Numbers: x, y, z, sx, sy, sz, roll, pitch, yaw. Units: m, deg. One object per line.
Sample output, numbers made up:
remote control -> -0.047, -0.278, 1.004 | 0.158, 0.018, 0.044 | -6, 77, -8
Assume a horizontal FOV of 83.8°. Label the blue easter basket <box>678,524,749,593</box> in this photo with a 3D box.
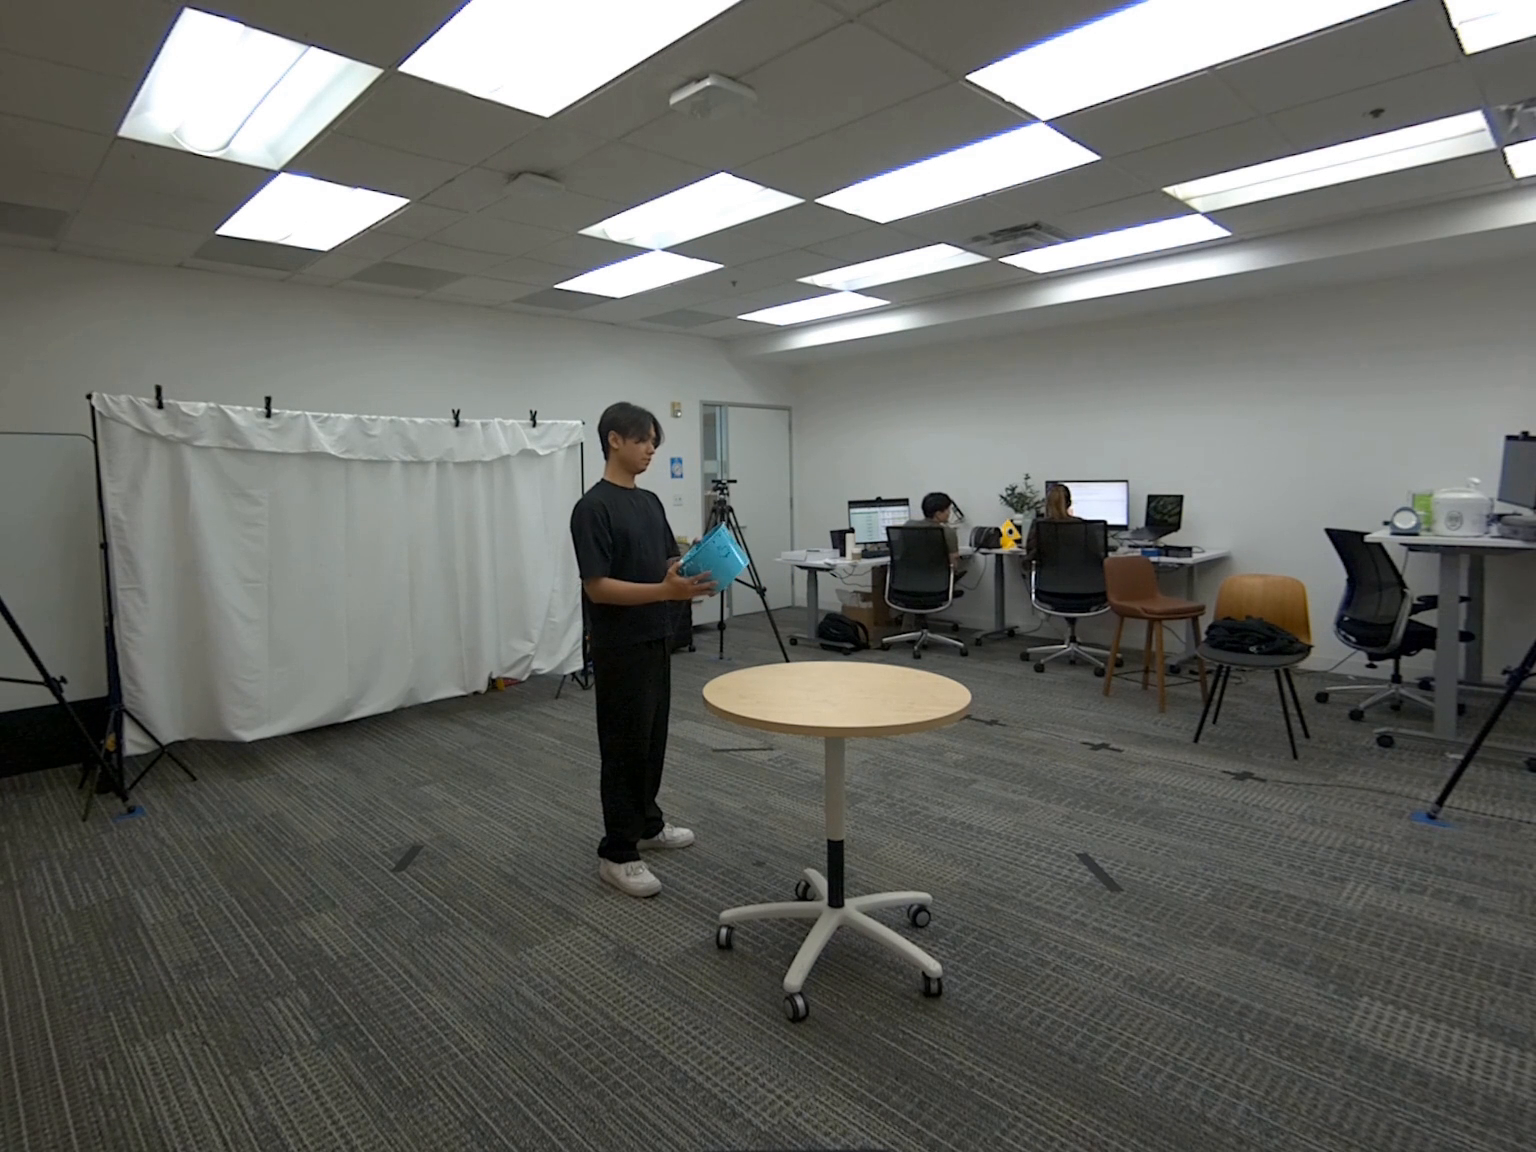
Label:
blue easter basket -> -0.178, -0.045, 2.845 | 0.243, 0.154, 0.246 | -43, 8, 4
